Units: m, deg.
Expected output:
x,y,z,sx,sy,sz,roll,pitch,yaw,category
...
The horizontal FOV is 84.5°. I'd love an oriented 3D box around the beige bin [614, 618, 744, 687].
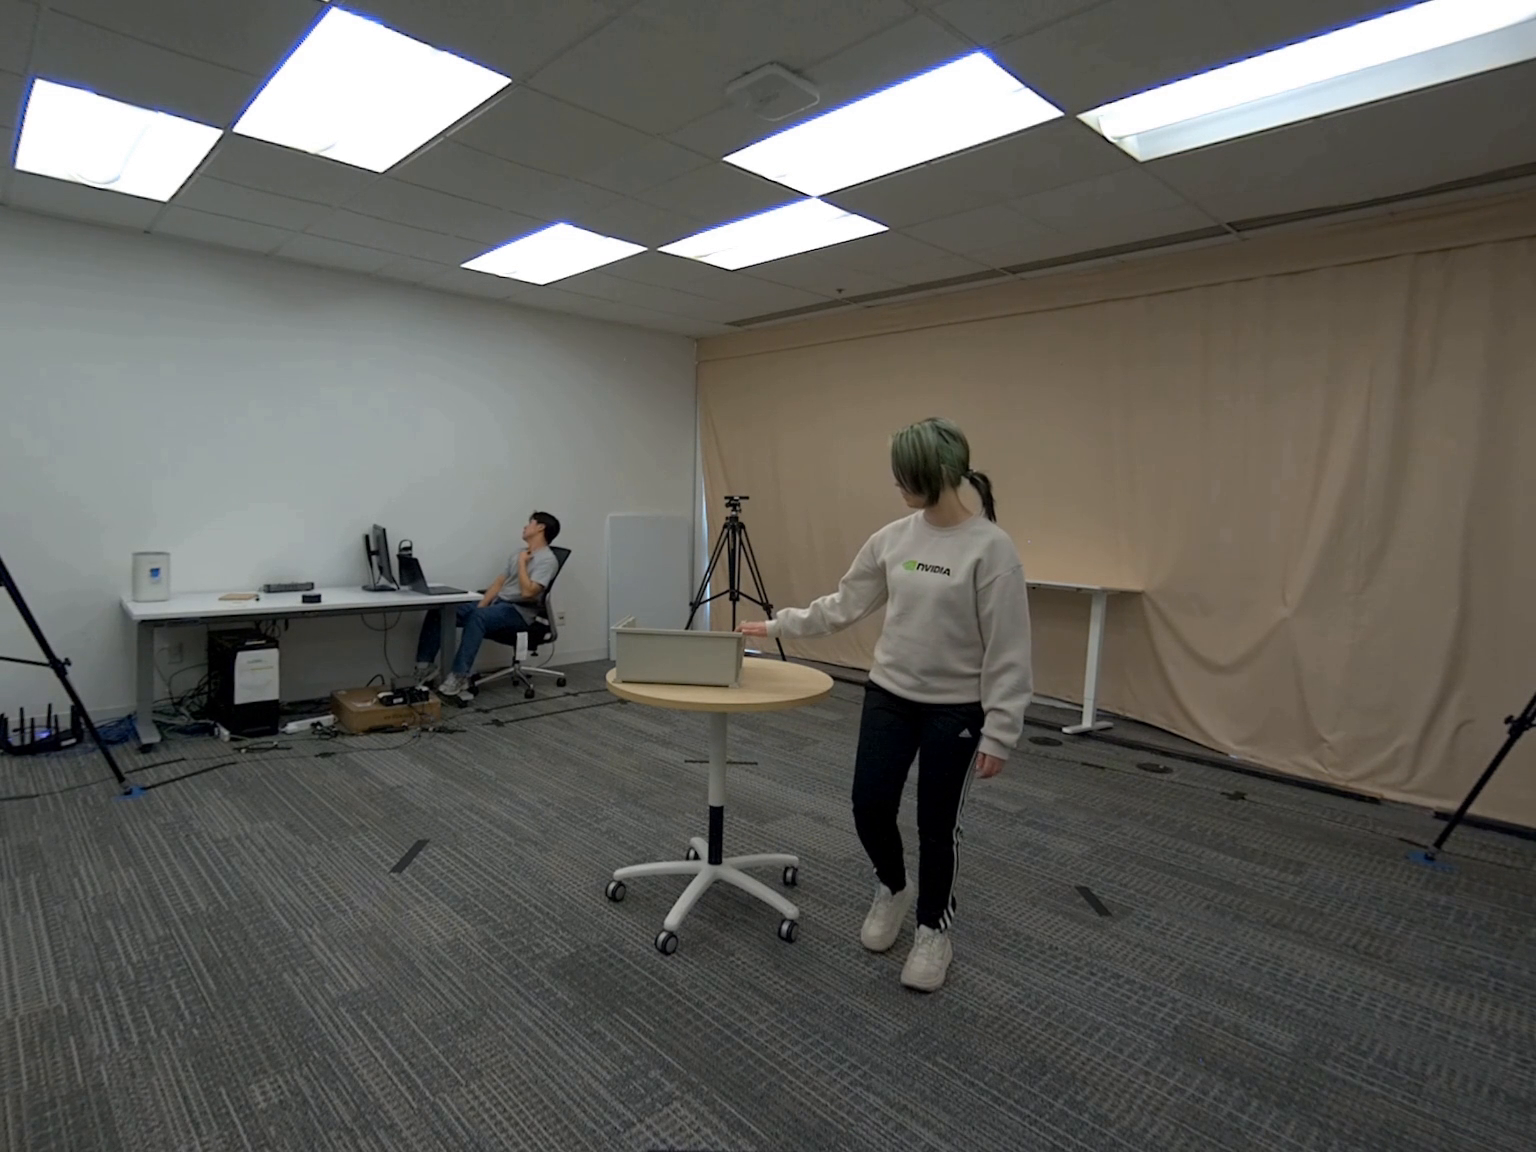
x,y,z,sx,sy,sz,roll,pitch,yaw,category
-0.295,0.246,2.860,0.424,0.188,0.378,2,6,3,beige bin
